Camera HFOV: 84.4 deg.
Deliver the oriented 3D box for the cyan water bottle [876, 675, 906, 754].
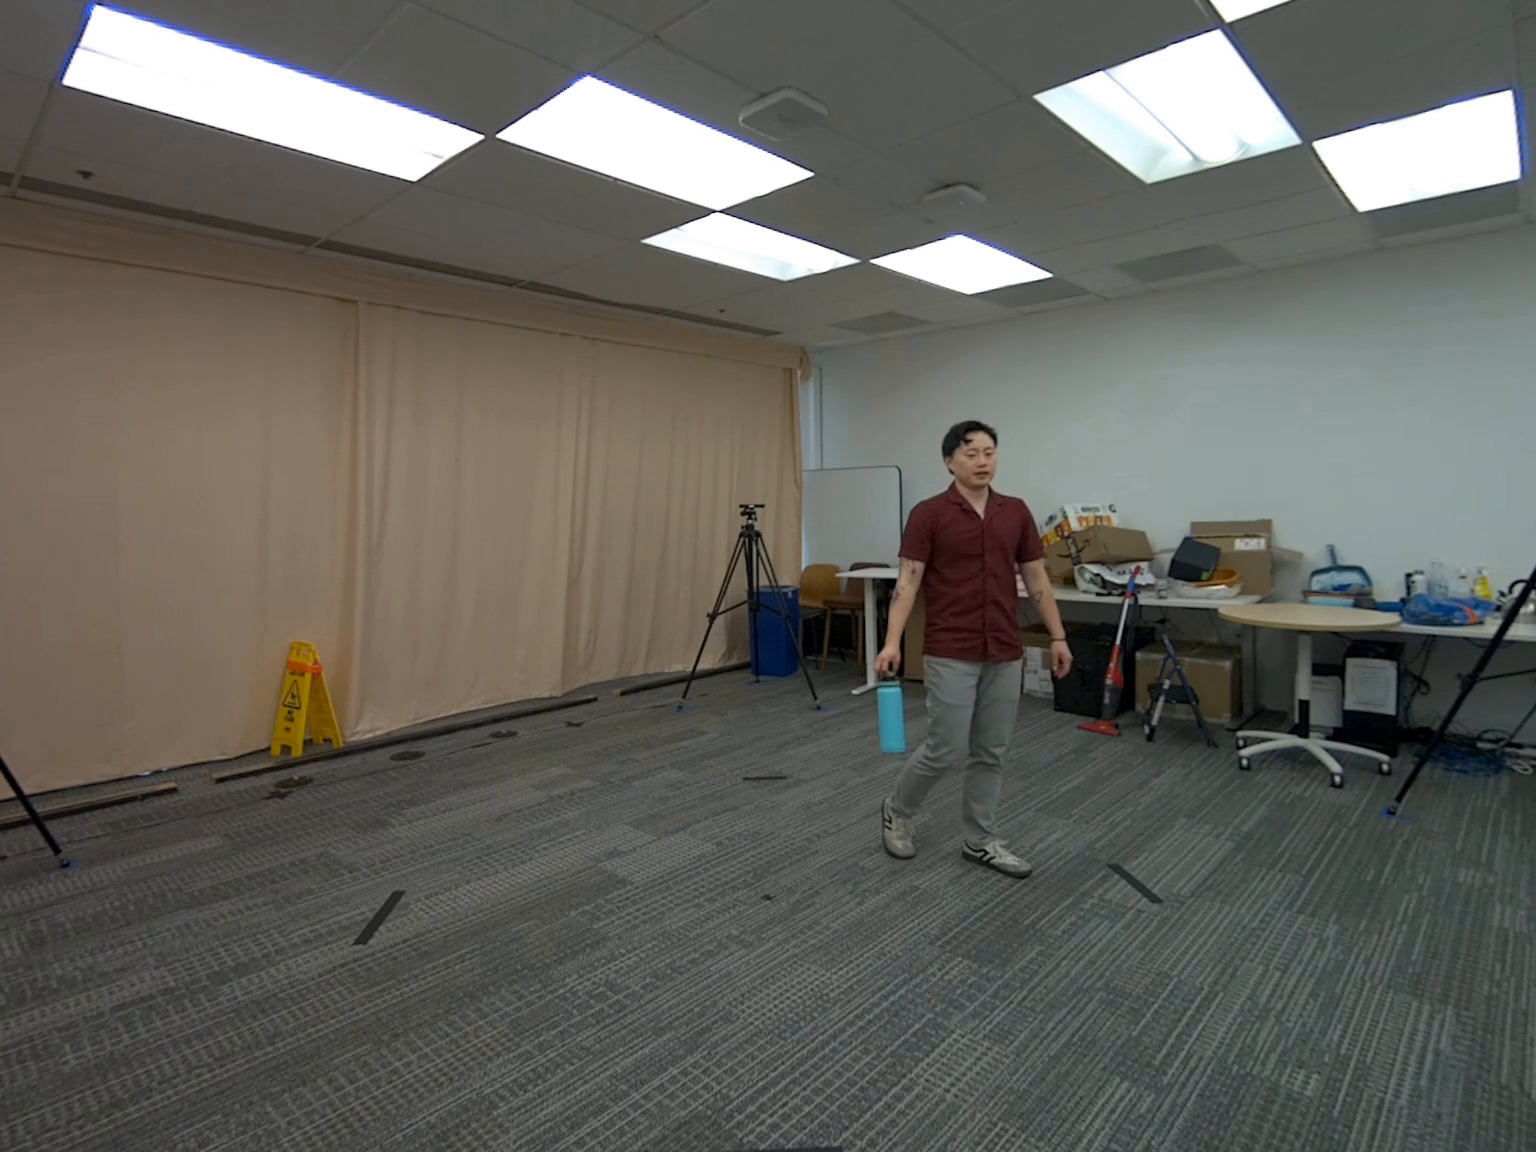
[{"bbox_3d":[0.460,0.497,3.065,0.092,0.285,0.092,-3,-9,-2],"label":"cyan water bottle"}]
